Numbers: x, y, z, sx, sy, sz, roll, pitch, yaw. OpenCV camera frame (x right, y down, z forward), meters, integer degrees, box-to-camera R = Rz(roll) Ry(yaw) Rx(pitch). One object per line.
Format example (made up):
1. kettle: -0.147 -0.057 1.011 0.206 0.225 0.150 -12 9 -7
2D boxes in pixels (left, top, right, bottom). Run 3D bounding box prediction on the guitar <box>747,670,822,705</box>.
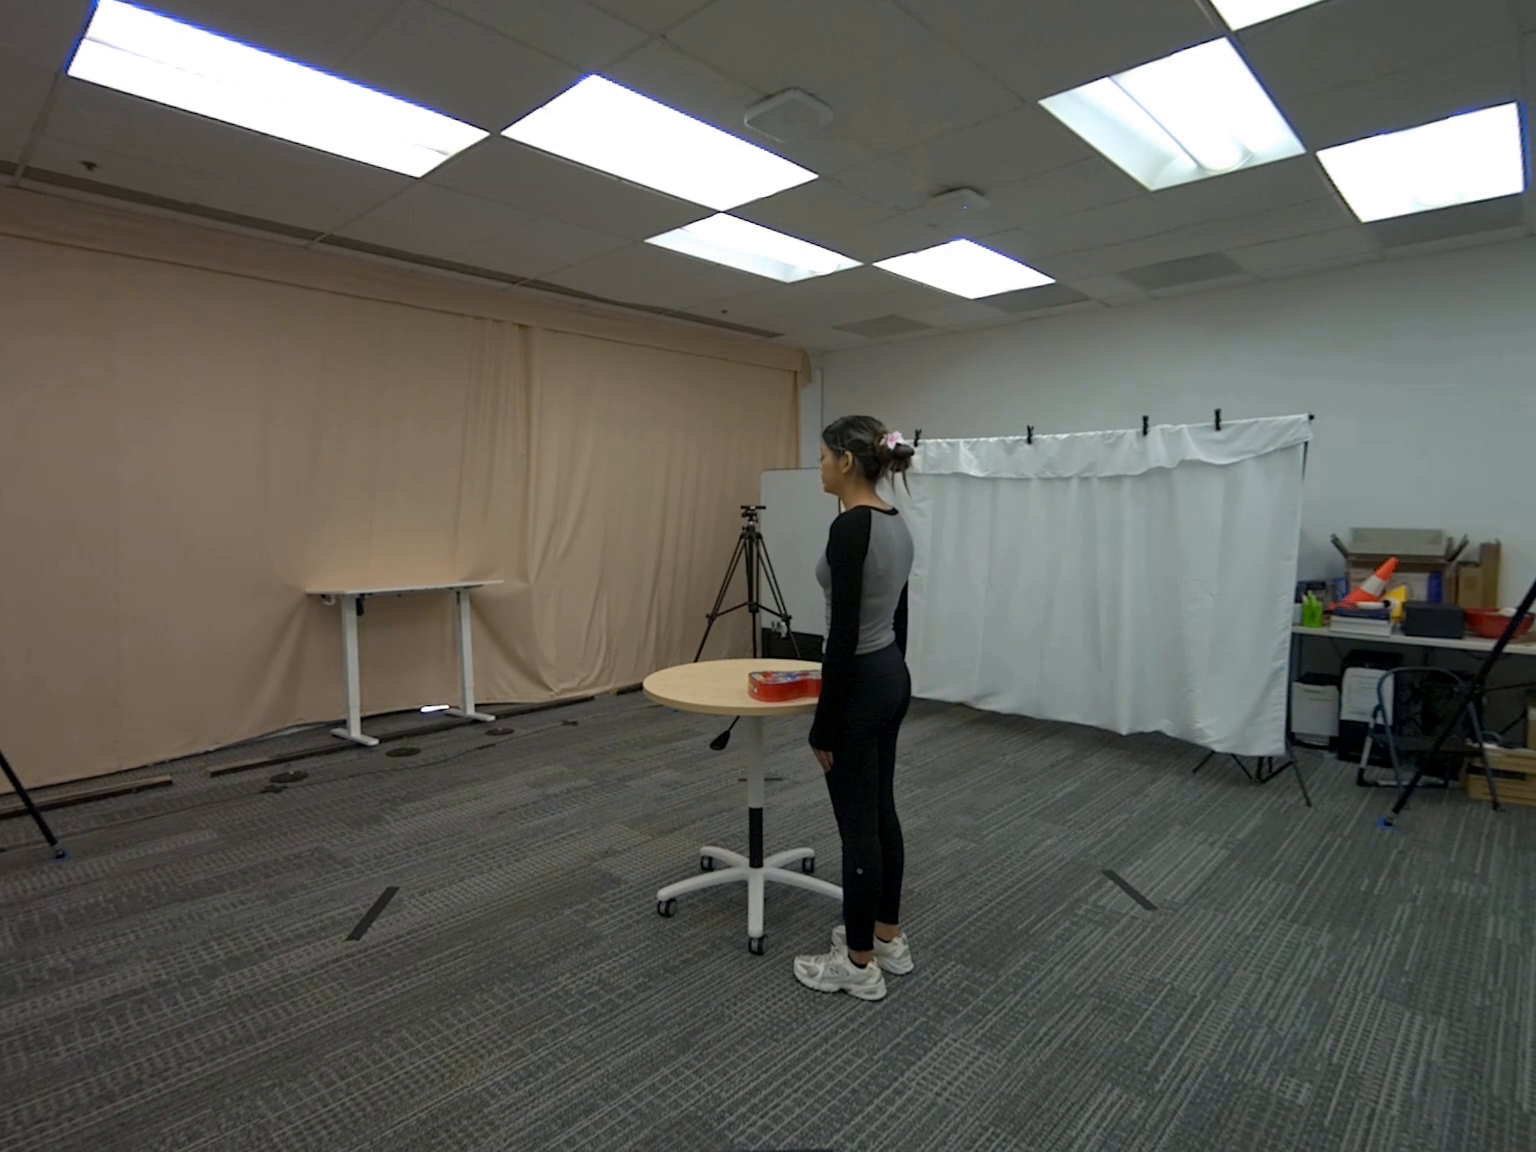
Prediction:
1. guitar: 0.192 0.341 2.676 0.495 0.070 0.194 -2 5 -5
